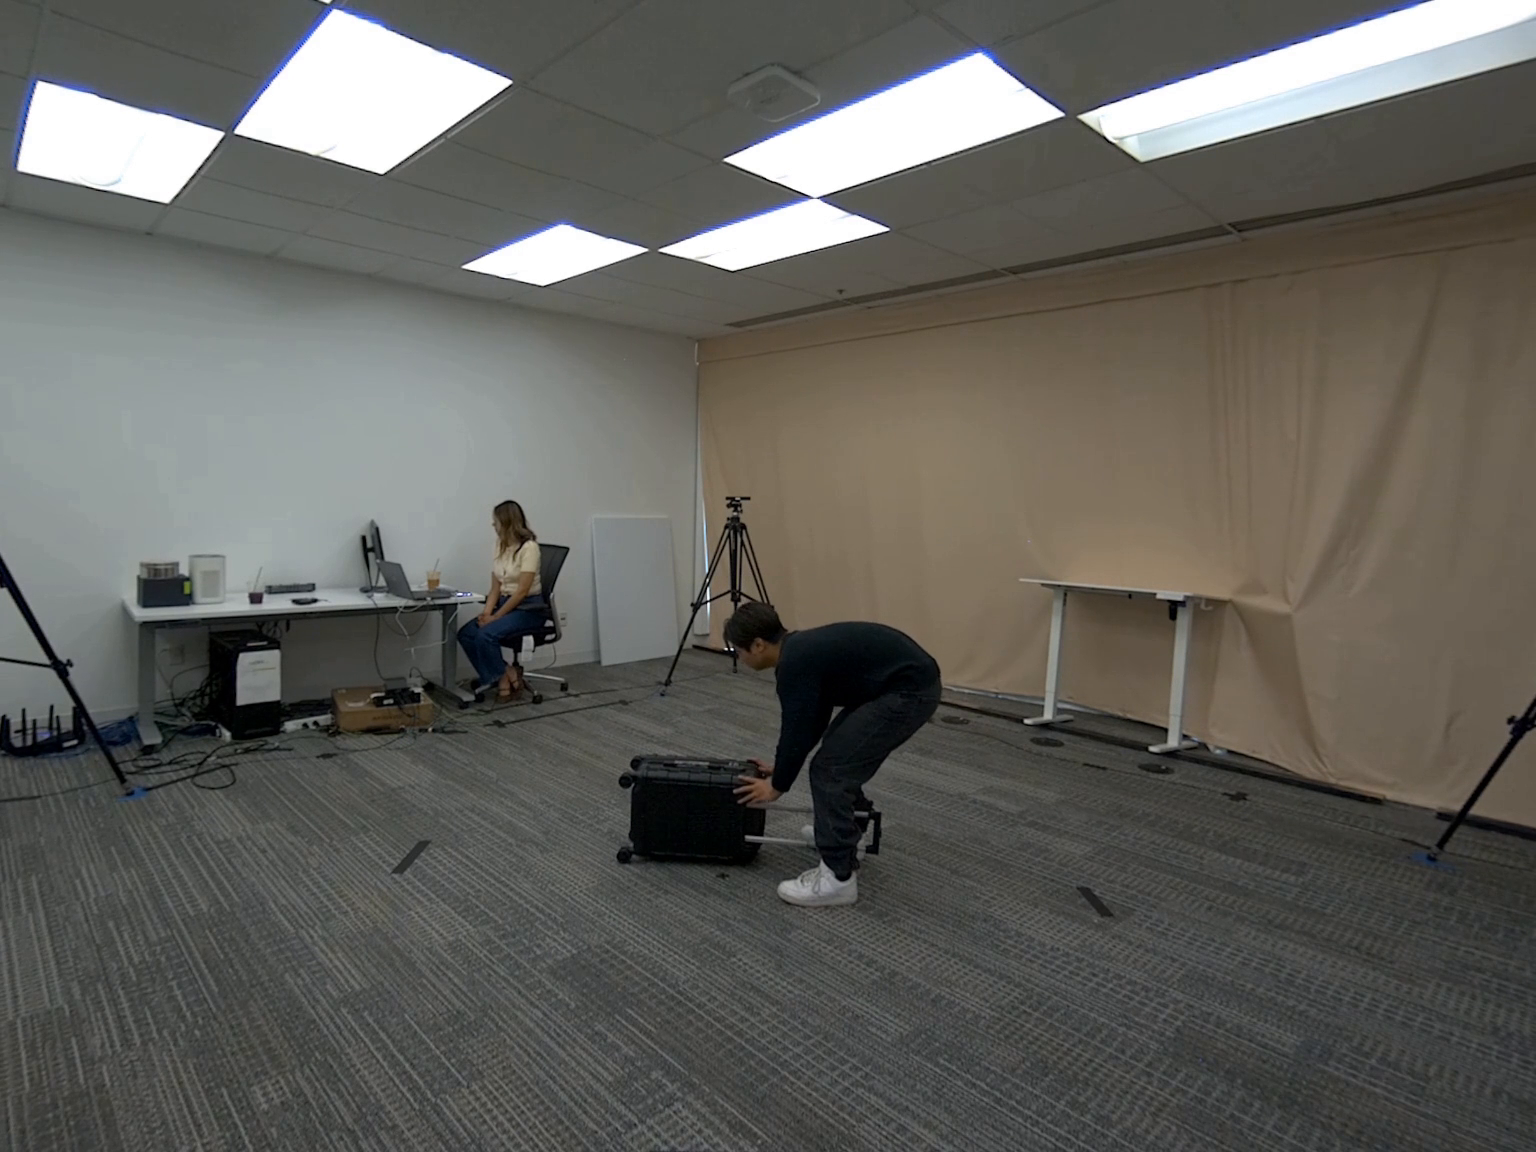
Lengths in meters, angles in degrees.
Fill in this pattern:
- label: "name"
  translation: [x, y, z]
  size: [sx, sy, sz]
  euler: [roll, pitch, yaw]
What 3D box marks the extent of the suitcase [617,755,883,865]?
- label: "suitcase"
  translation: [-0.081, 0.907, 3.248]
  size: [0.983, 0.382, 0.257]
  euler: [1, 6, 5]
